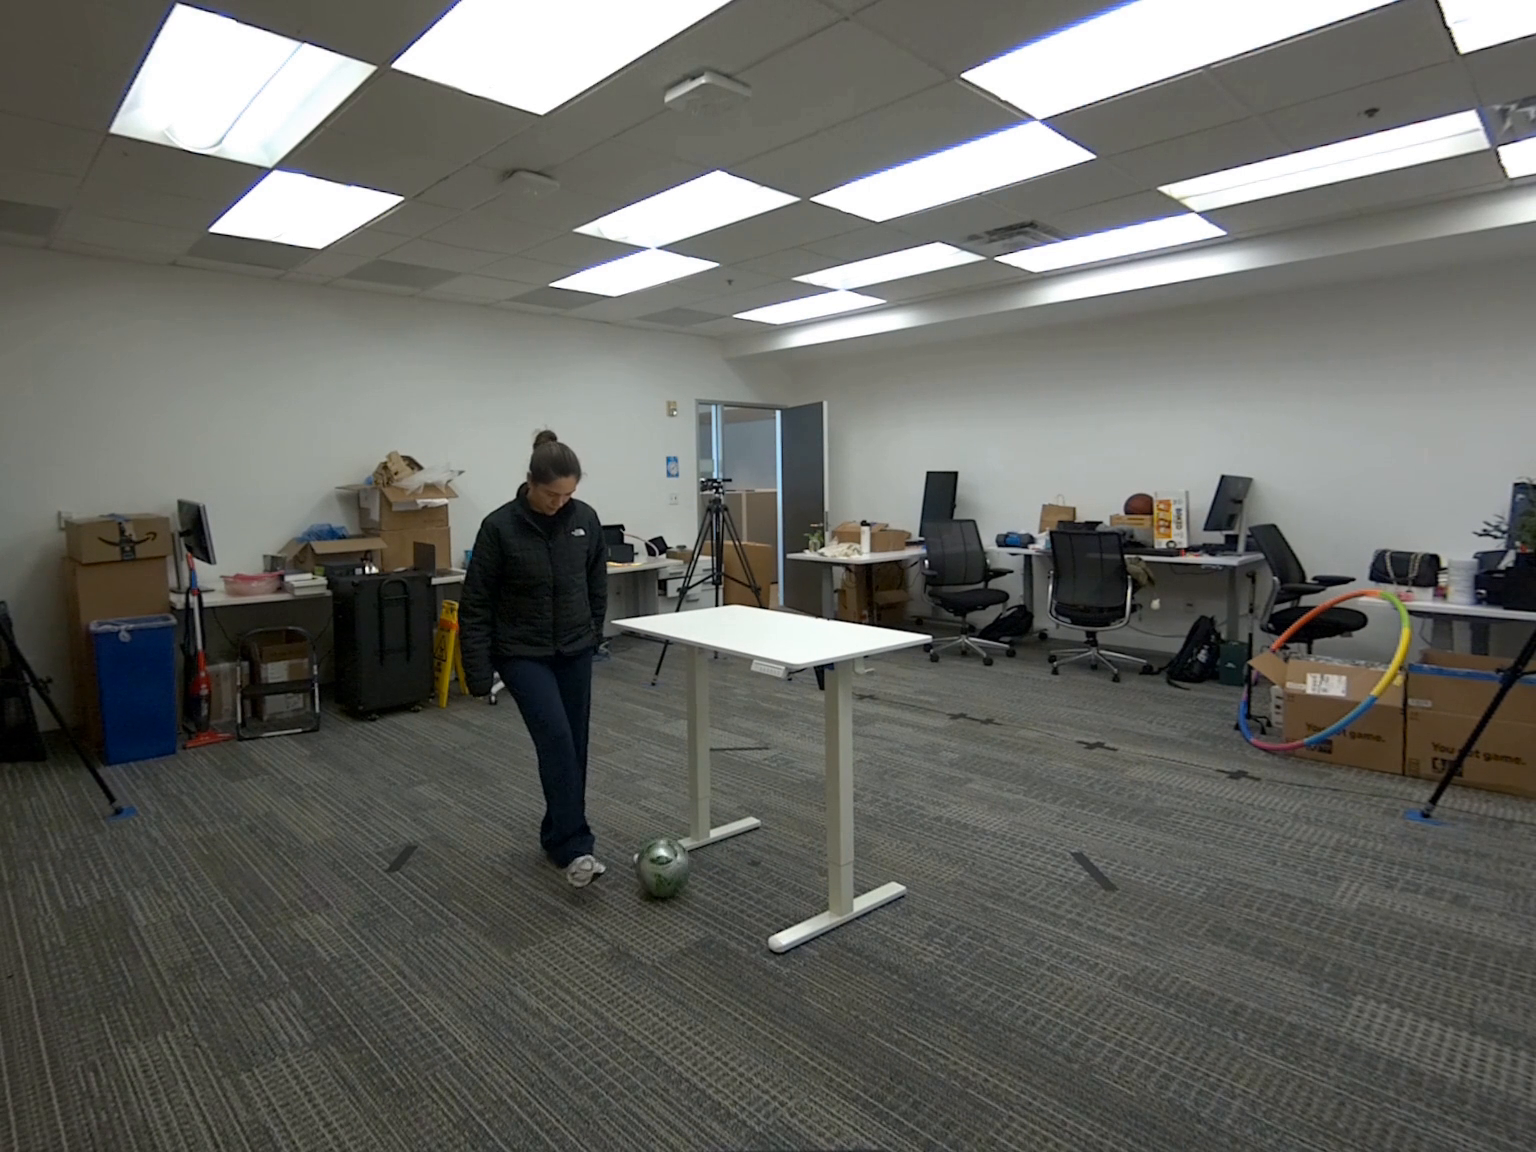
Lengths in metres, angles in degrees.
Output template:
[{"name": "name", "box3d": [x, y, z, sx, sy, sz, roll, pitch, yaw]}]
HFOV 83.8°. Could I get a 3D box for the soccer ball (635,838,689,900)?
[{"name": "soccer ball", "box3d": [-0.353, 0.979, 2.868, 0.187, 0.187, 0.188, -1, 5, -2]}]
